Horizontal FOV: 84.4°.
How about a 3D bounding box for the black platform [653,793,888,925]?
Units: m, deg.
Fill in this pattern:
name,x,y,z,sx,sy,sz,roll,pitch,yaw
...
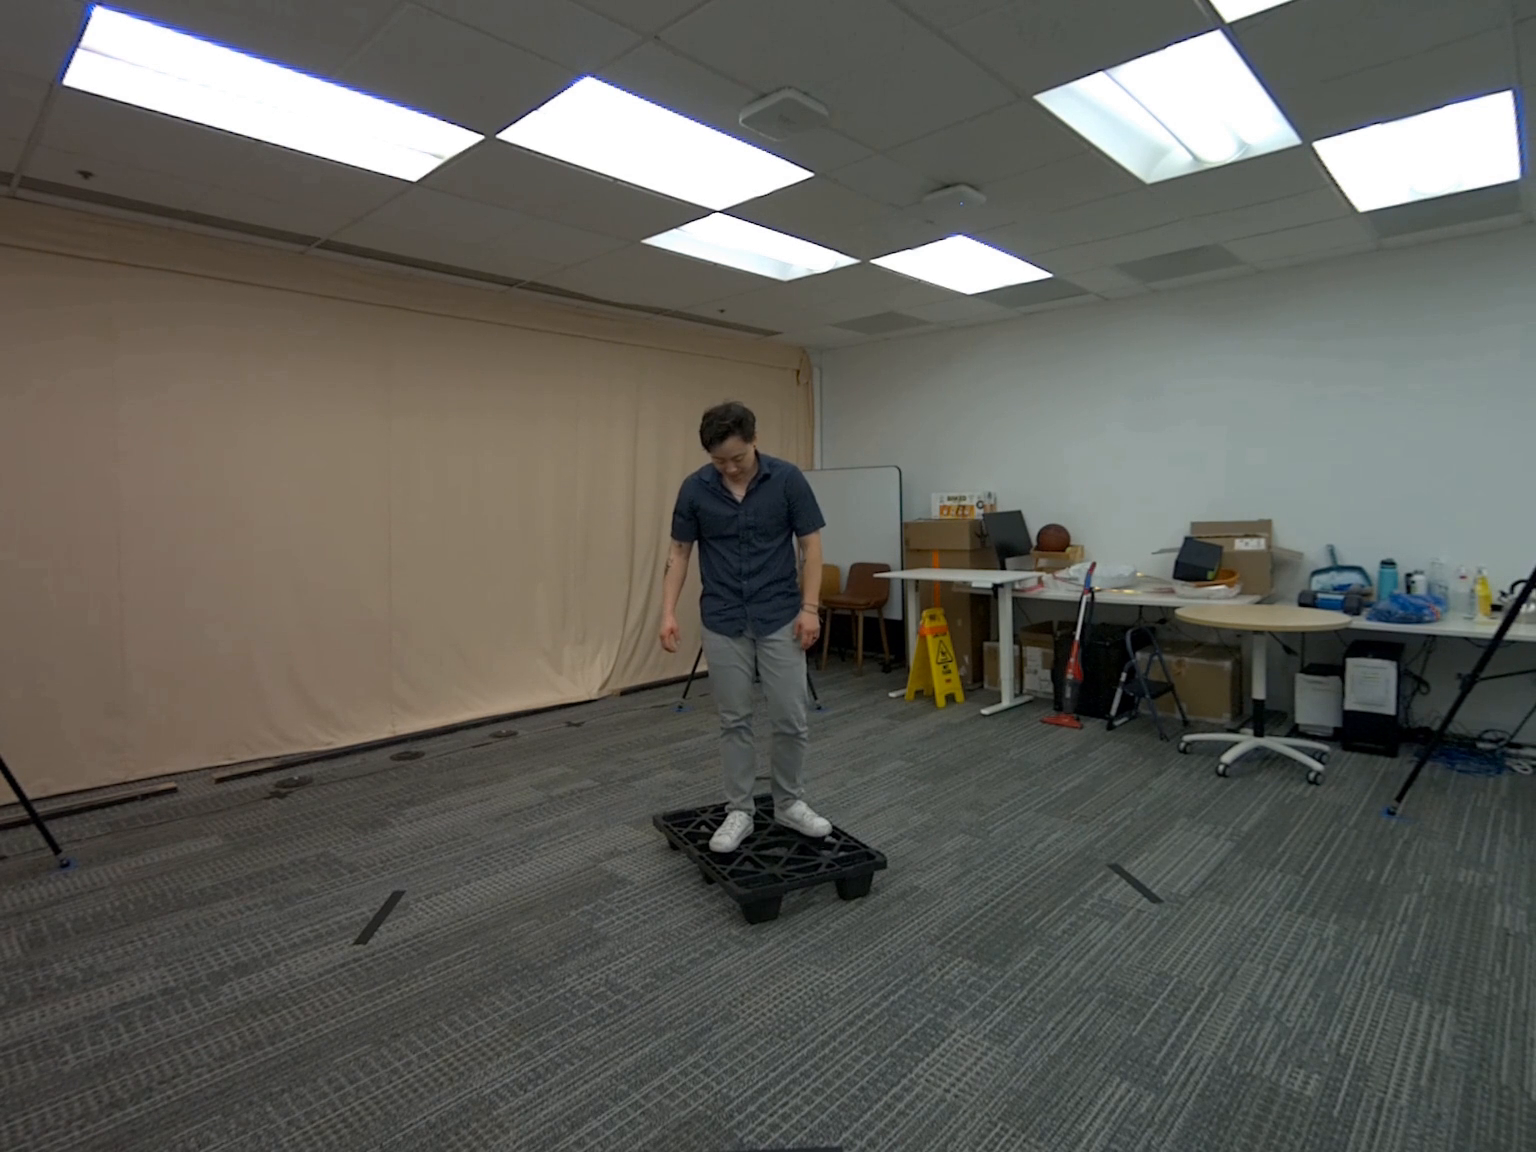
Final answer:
name,x,y,z,sx,sy,sz,roll,pitch,yaw
black platform,-0.020,1.053,3.213,0.590,0.143,0.827,-3,5,-27
